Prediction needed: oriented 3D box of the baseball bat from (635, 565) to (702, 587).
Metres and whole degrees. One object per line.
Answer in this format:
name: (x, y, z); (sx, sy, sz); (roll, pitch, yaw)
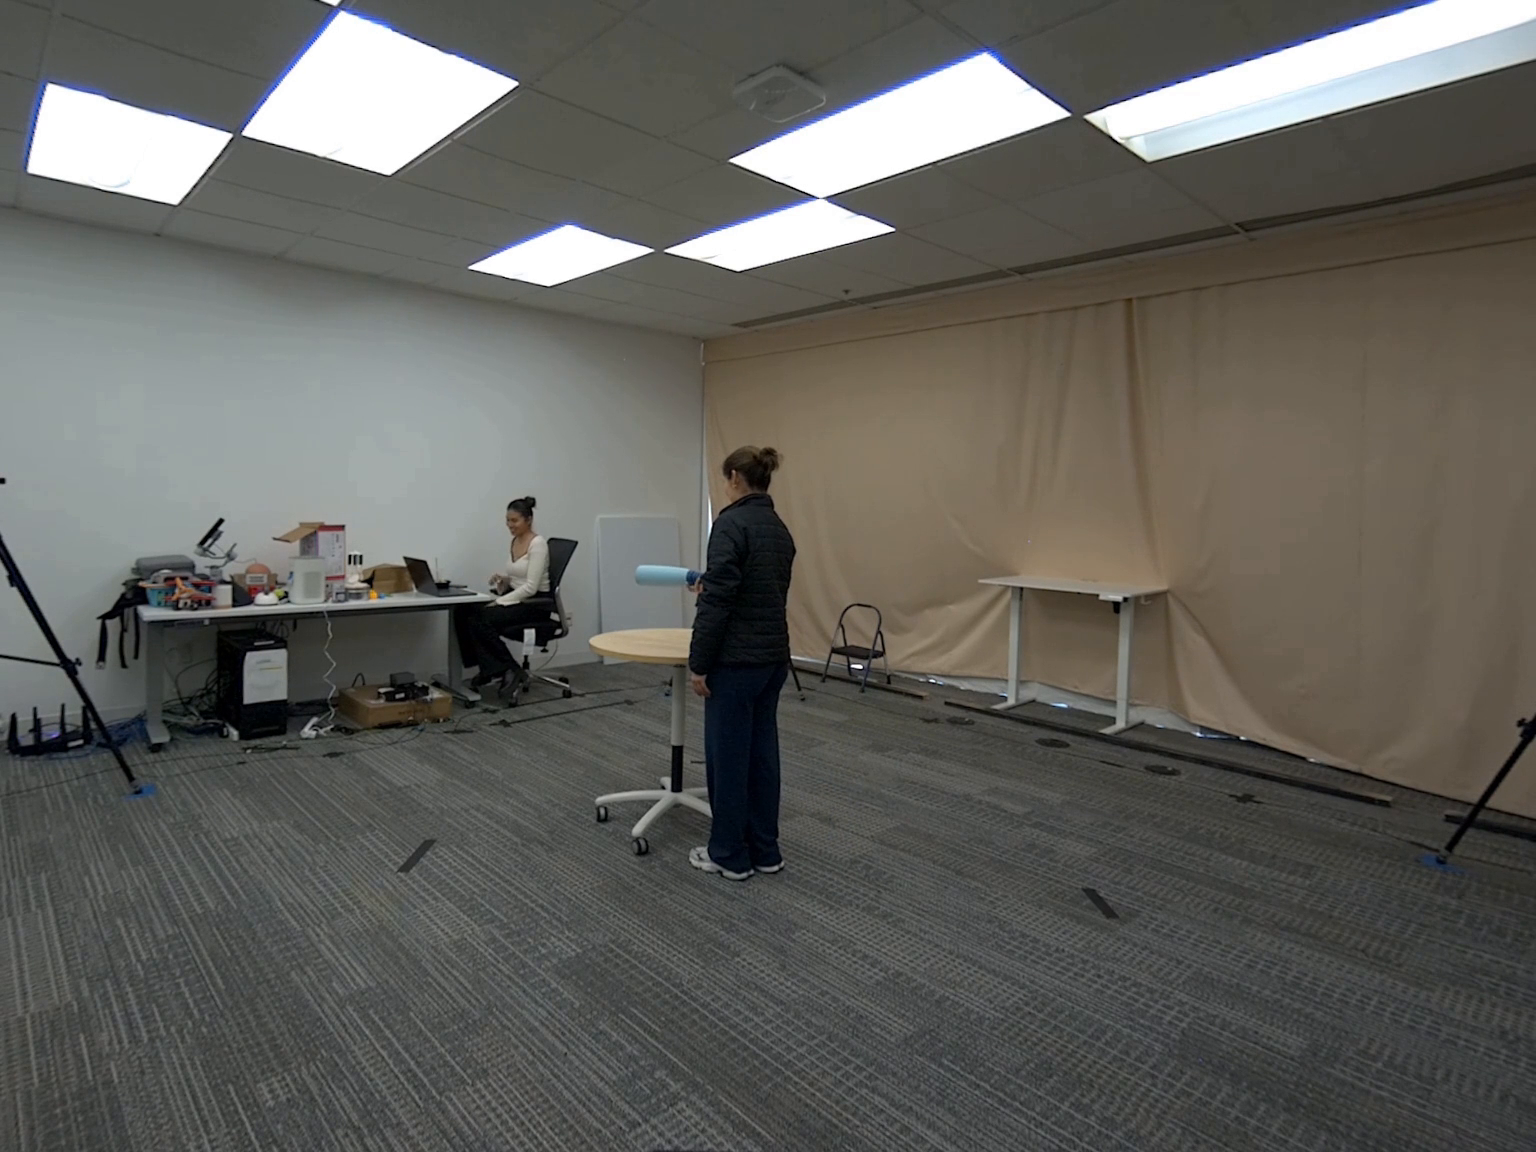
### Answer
baseball bat: (-0.316, 0.015, 3.498); (0.552, 0.089, 0.088); (3, 4, 22)
